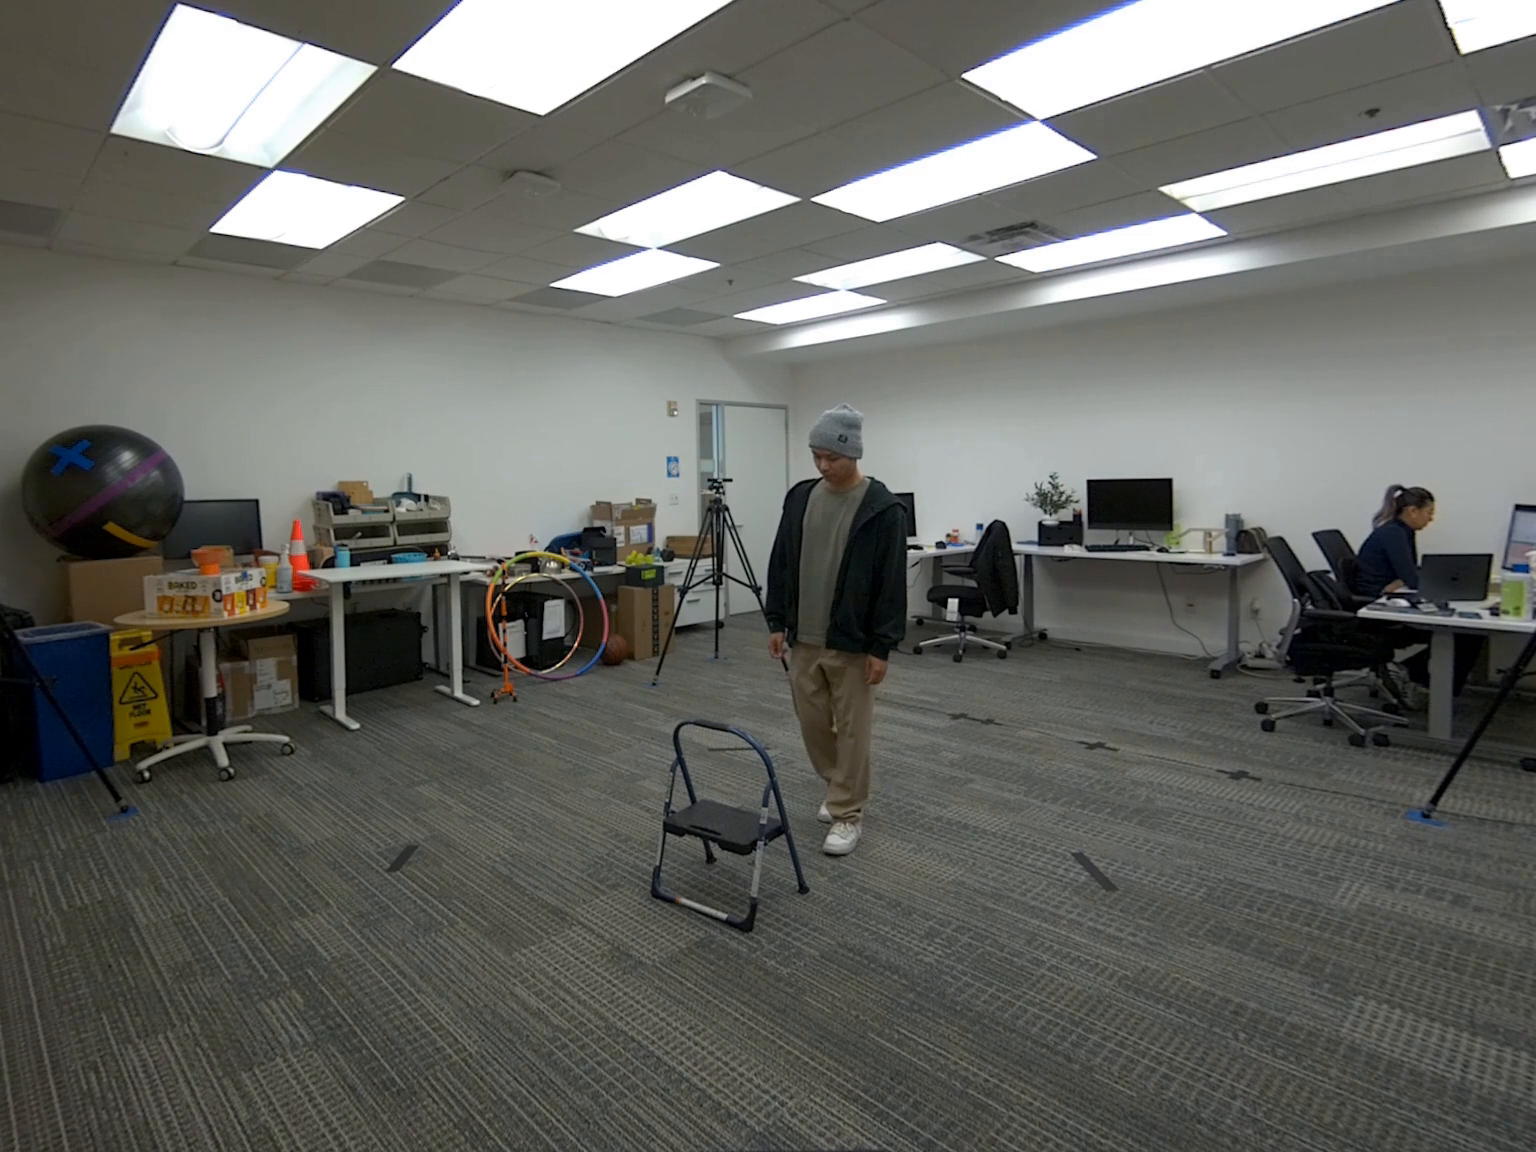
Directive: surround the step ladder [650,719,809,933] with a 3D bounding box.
[{"bbox_3d":[-0.134,0.770,2.867,0.443,0.604,0.341,2,5,35],"label":"step ladder"}]
